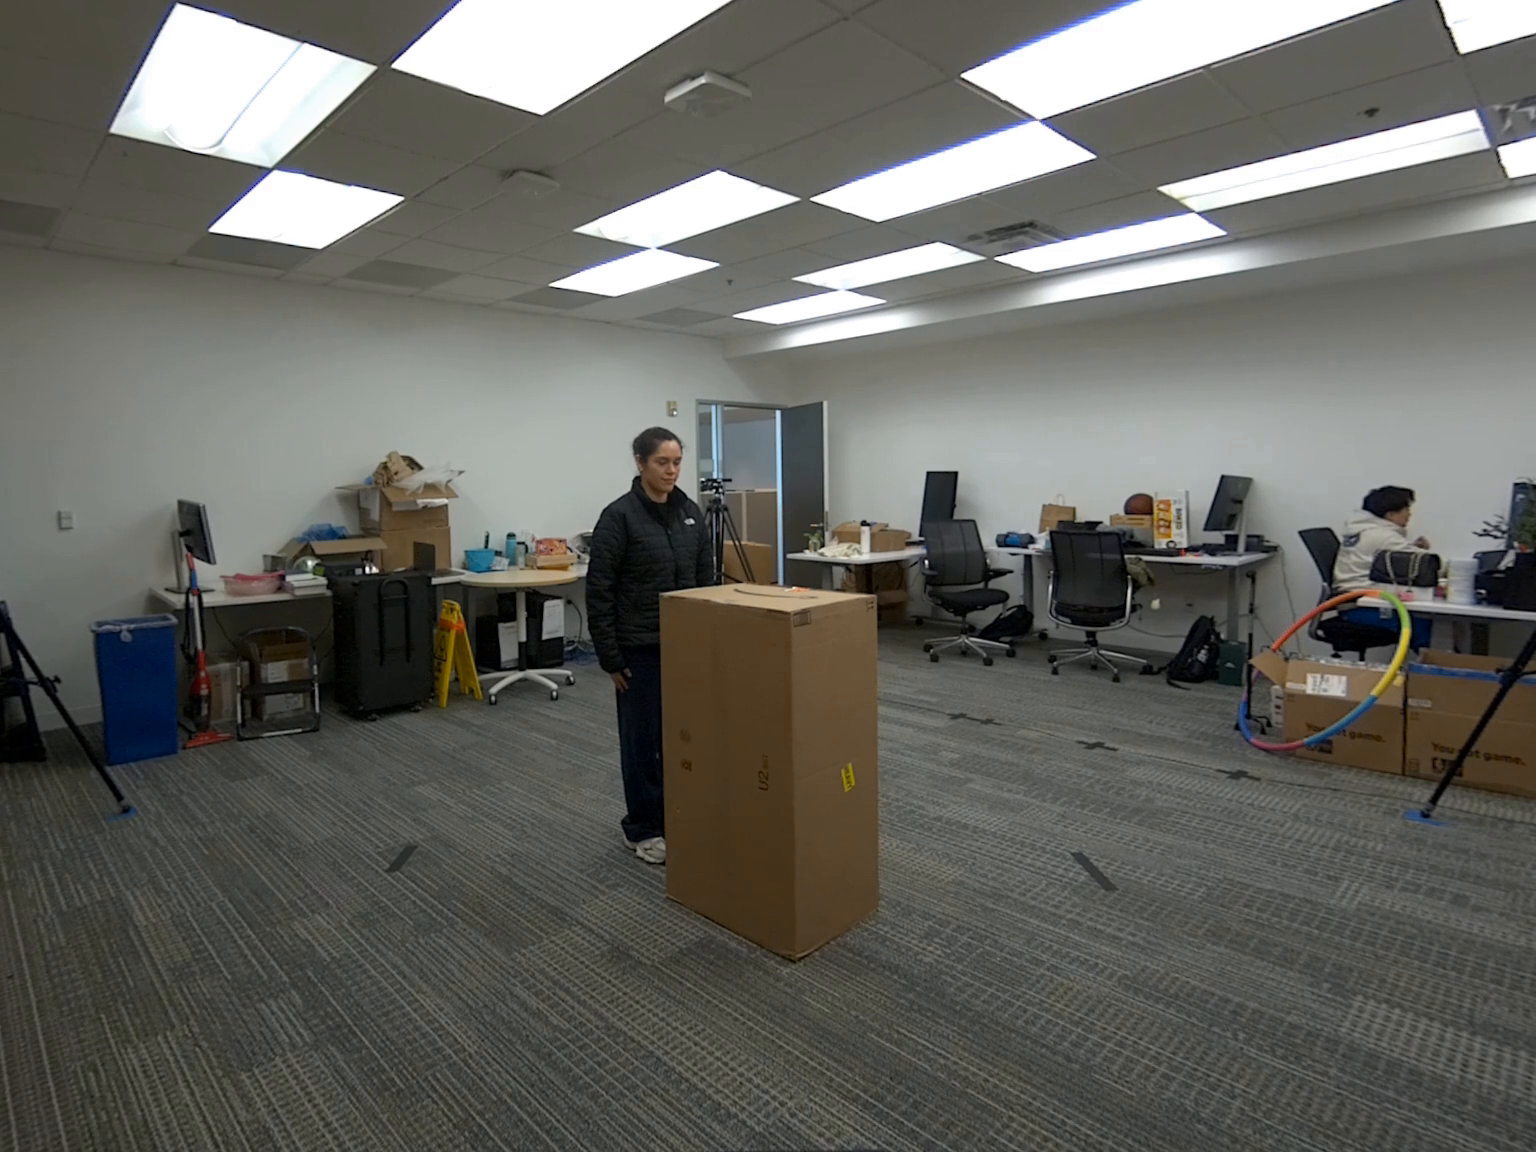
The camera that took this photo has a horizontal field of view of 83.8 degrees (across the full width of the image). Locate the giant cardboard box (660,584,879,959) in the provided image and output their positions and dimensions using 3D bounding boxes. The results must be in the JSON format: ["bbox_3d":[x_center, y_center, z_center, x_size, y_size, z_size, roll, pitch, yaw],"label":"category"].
[{"bbox_3d":[0.005,0.572,2.790,0.595,1.022,0.415,3,5,44],"label":"giant cardboard box"}]
